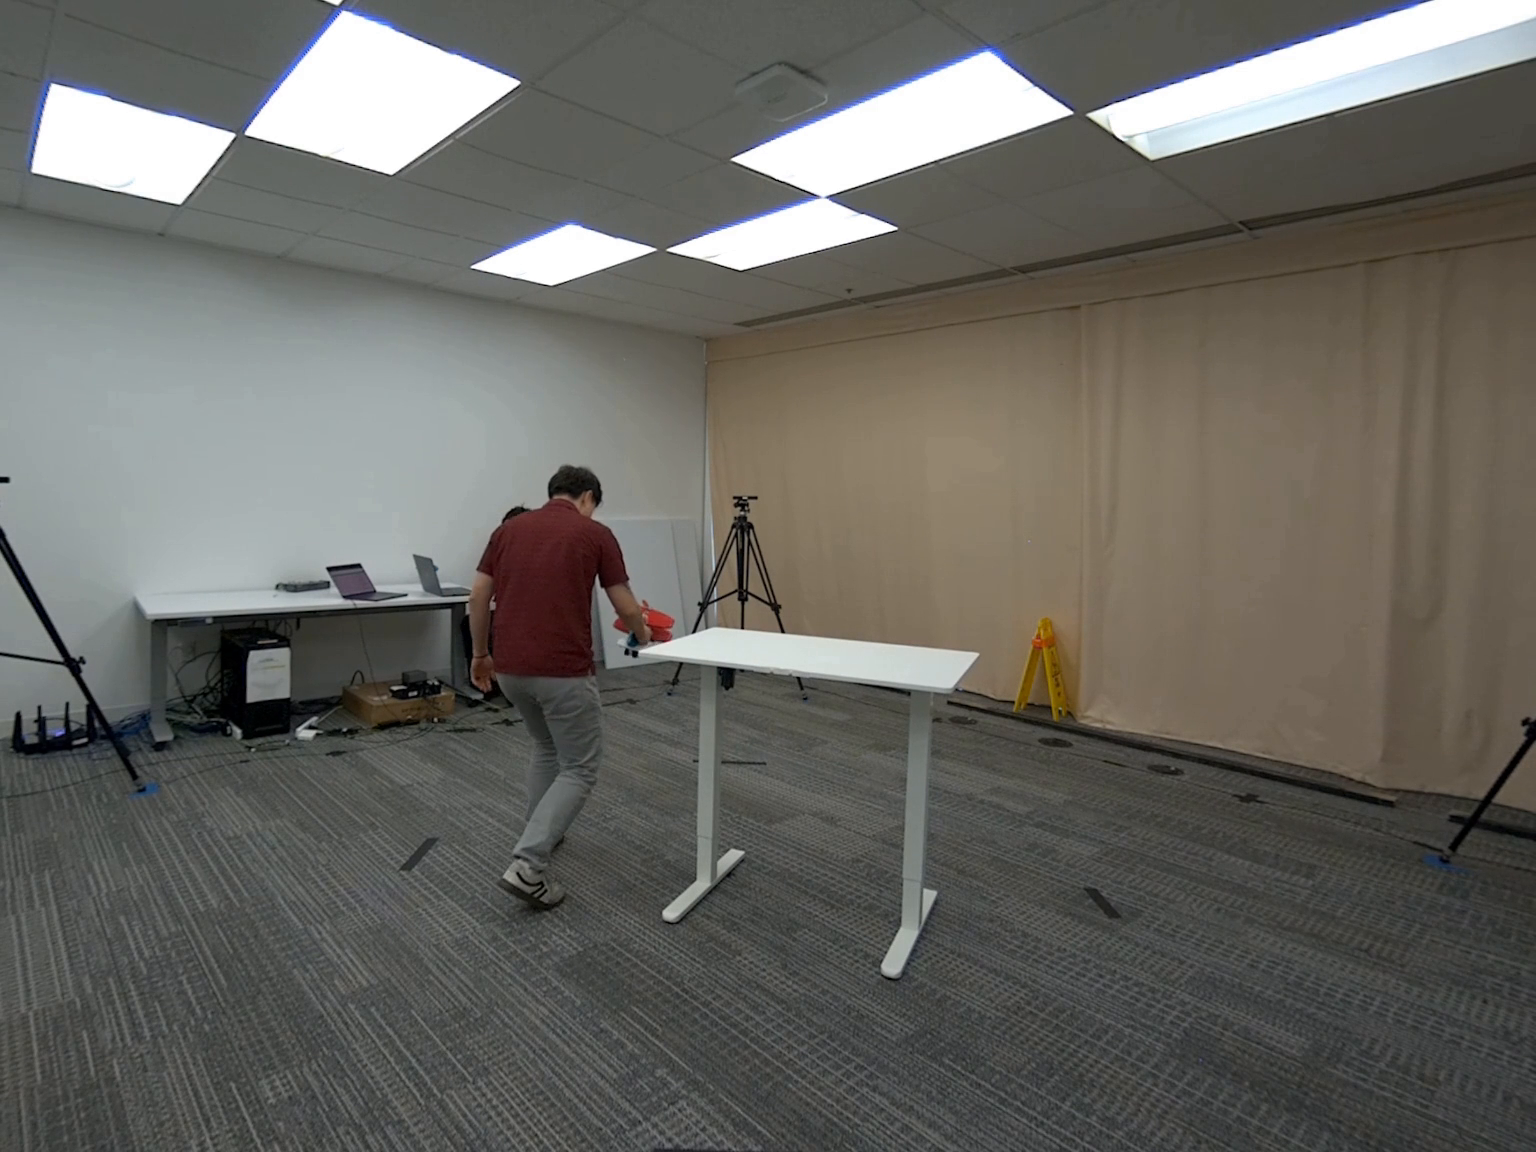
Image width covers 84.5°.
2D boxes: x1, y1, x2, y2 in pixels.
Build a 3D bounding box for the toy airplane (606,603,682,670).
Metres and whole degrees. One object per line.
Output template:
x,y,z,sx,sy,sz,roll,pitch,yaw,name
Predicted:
-0.523,0.243,3.518,0.247,0.155,0.266,6,21,-19,toy airplane
